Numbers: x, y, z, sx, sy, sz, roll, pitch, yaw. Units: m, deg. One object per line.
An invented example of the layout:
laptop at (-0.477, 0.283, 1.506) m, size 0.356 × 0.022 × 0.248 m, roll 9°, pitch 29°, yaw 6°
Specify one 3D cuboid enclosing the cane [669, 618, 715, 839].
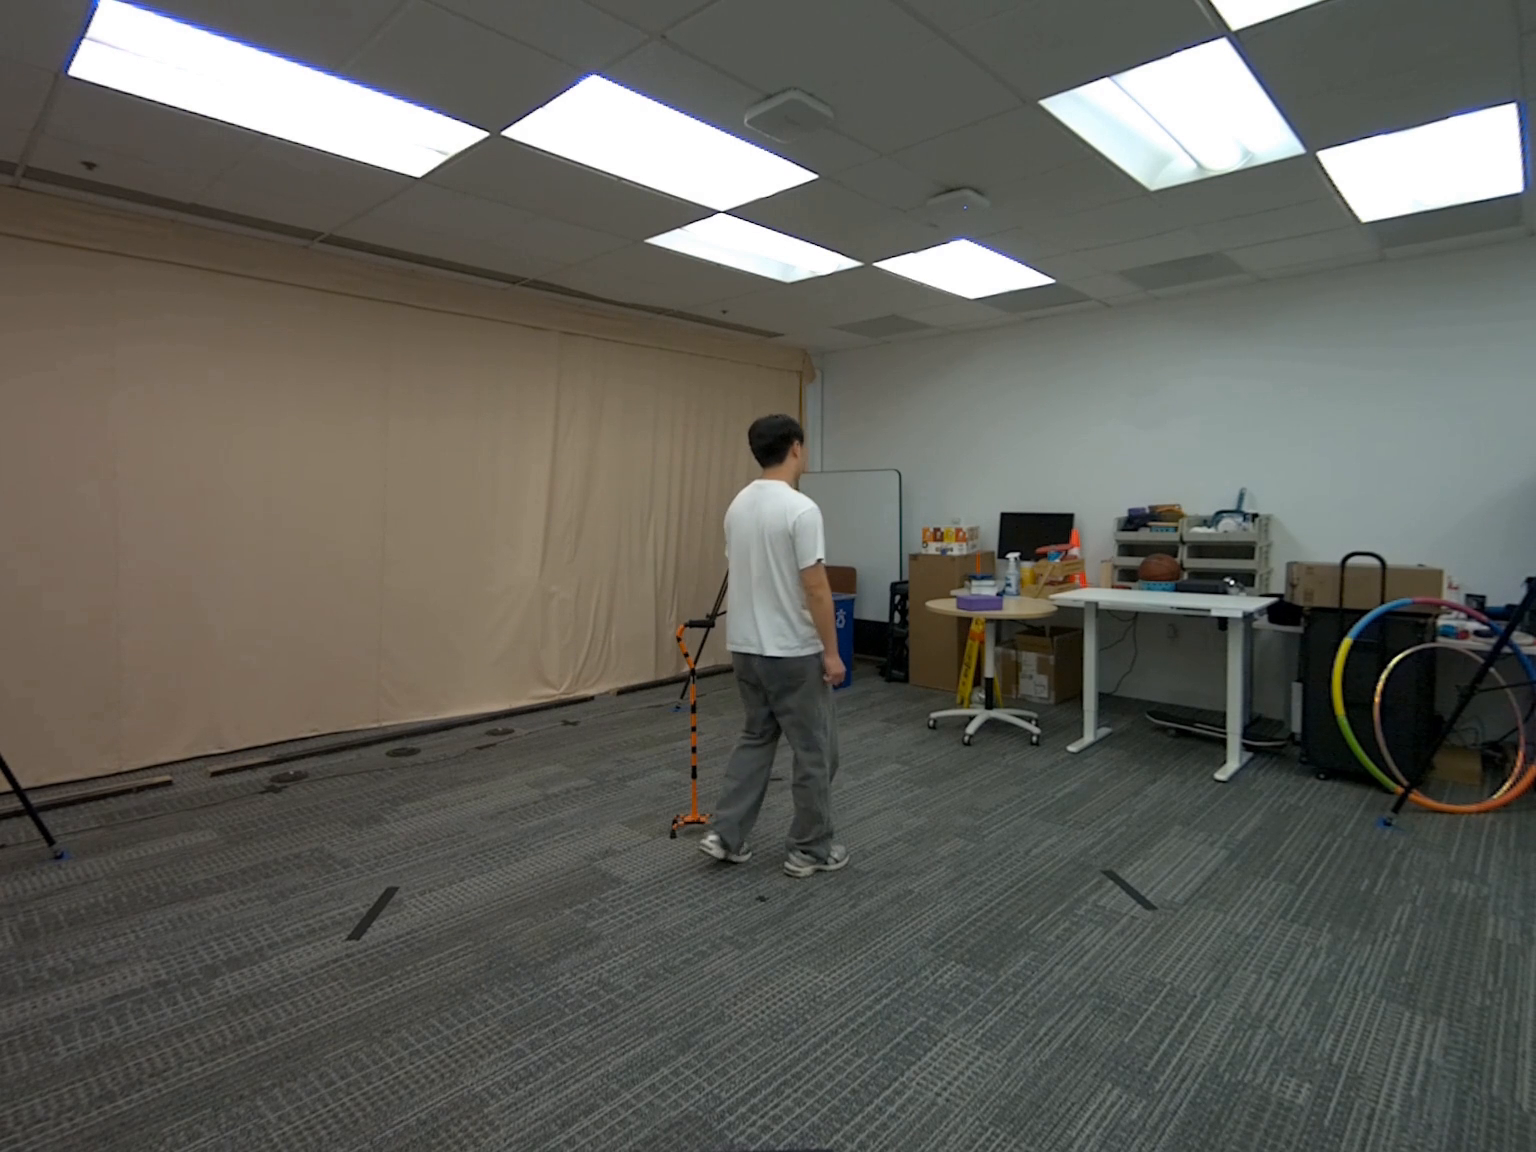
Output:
cane at (-0.318, 0.645, 3.586) m, size 0.206 × 0.906 × 0.152 m, roll -1°, pitch 3°, yaw -2°
